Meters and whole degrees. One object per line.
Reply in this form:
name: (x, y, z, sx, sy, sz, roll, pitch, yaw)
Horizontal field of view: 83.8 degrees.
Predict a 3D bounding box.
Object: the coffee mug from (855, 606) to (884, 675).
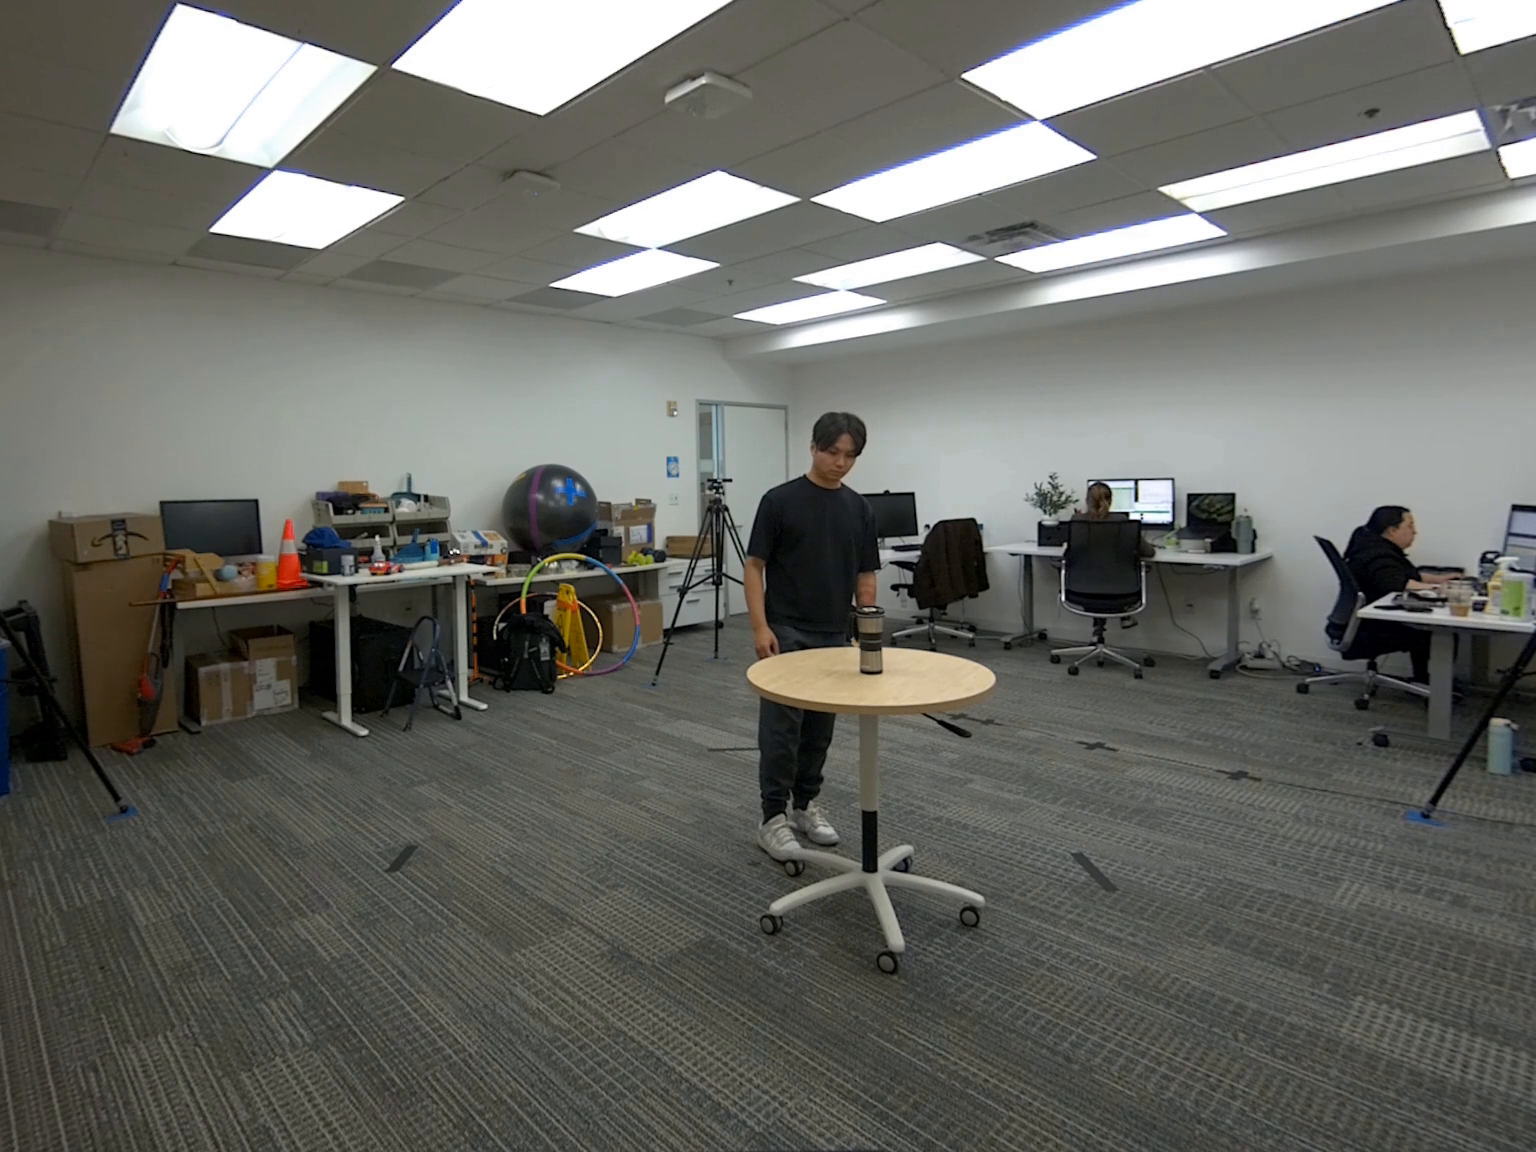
coffee mug: (0.311, 0.201, 2.698, 0.086, 0.201, 0.125, -9, 11, -29)
